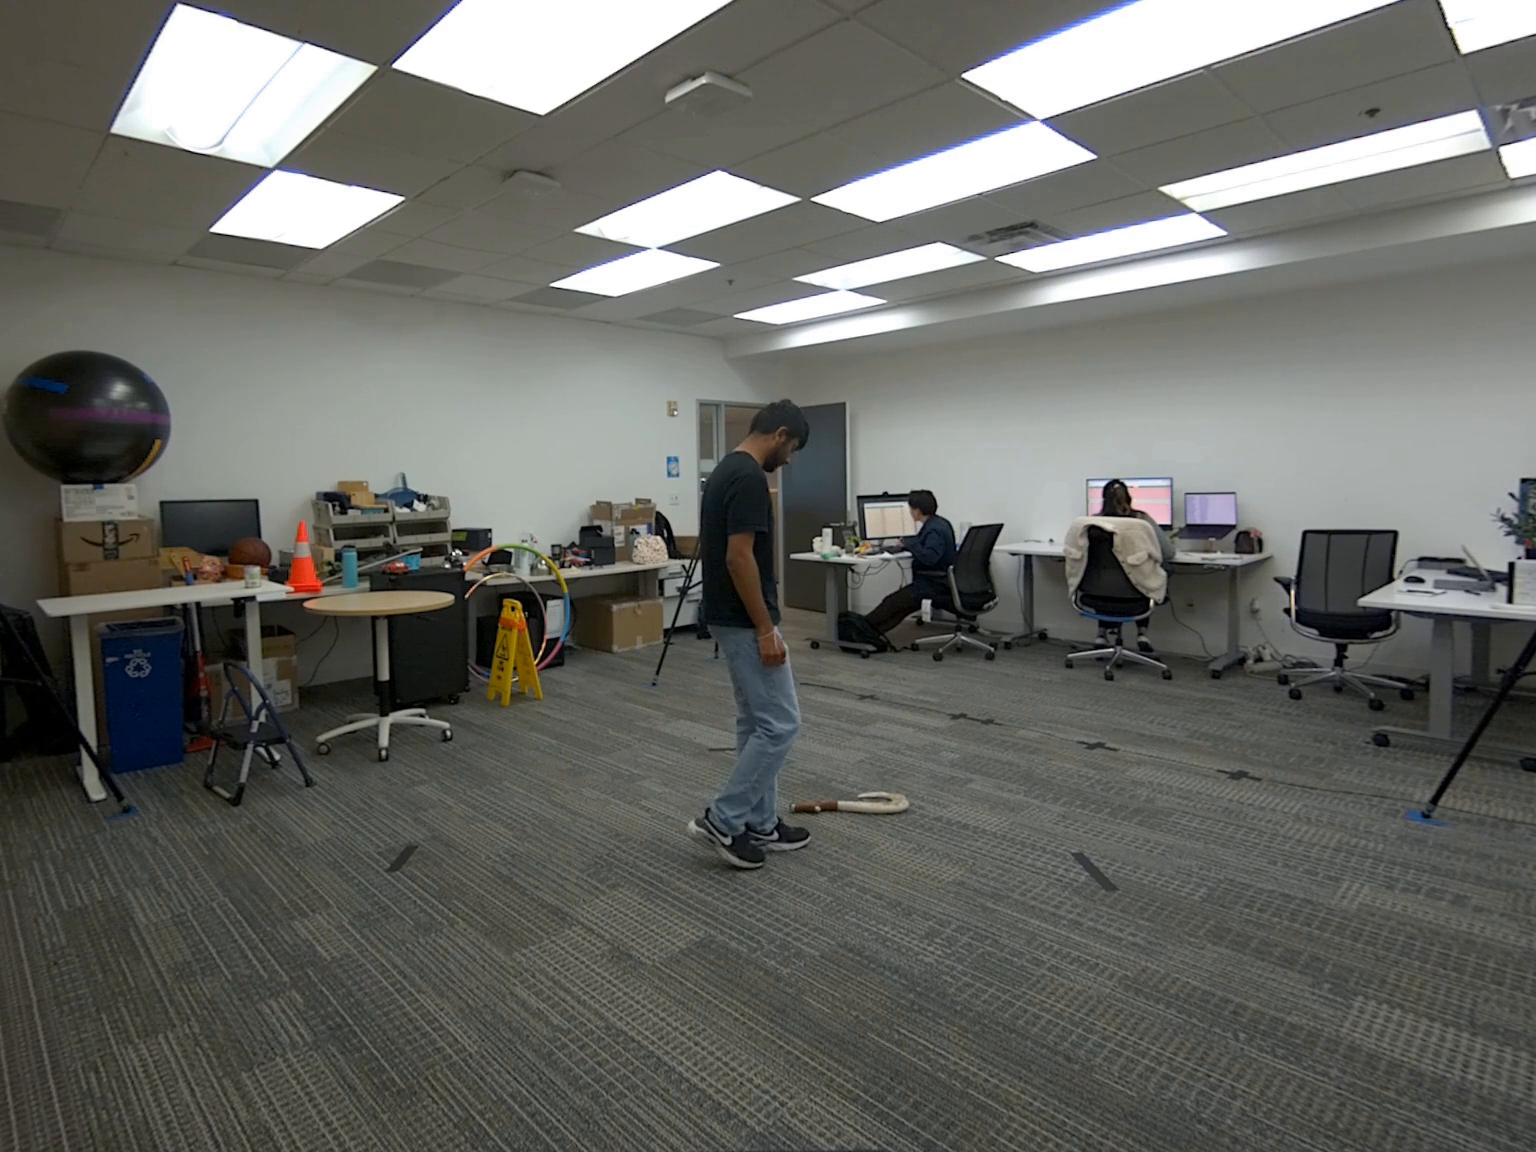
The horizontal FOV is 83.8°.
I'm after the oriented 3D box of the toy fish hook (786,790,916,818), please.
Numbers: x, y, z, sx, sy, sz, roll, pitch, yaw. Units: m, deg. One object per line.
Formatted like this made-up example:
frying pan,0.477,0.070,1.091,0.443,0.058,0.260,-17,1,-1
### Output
toy fish hook,0.342,0.963,3.631,0.506,0.048,0.224,-1,-2,-2
